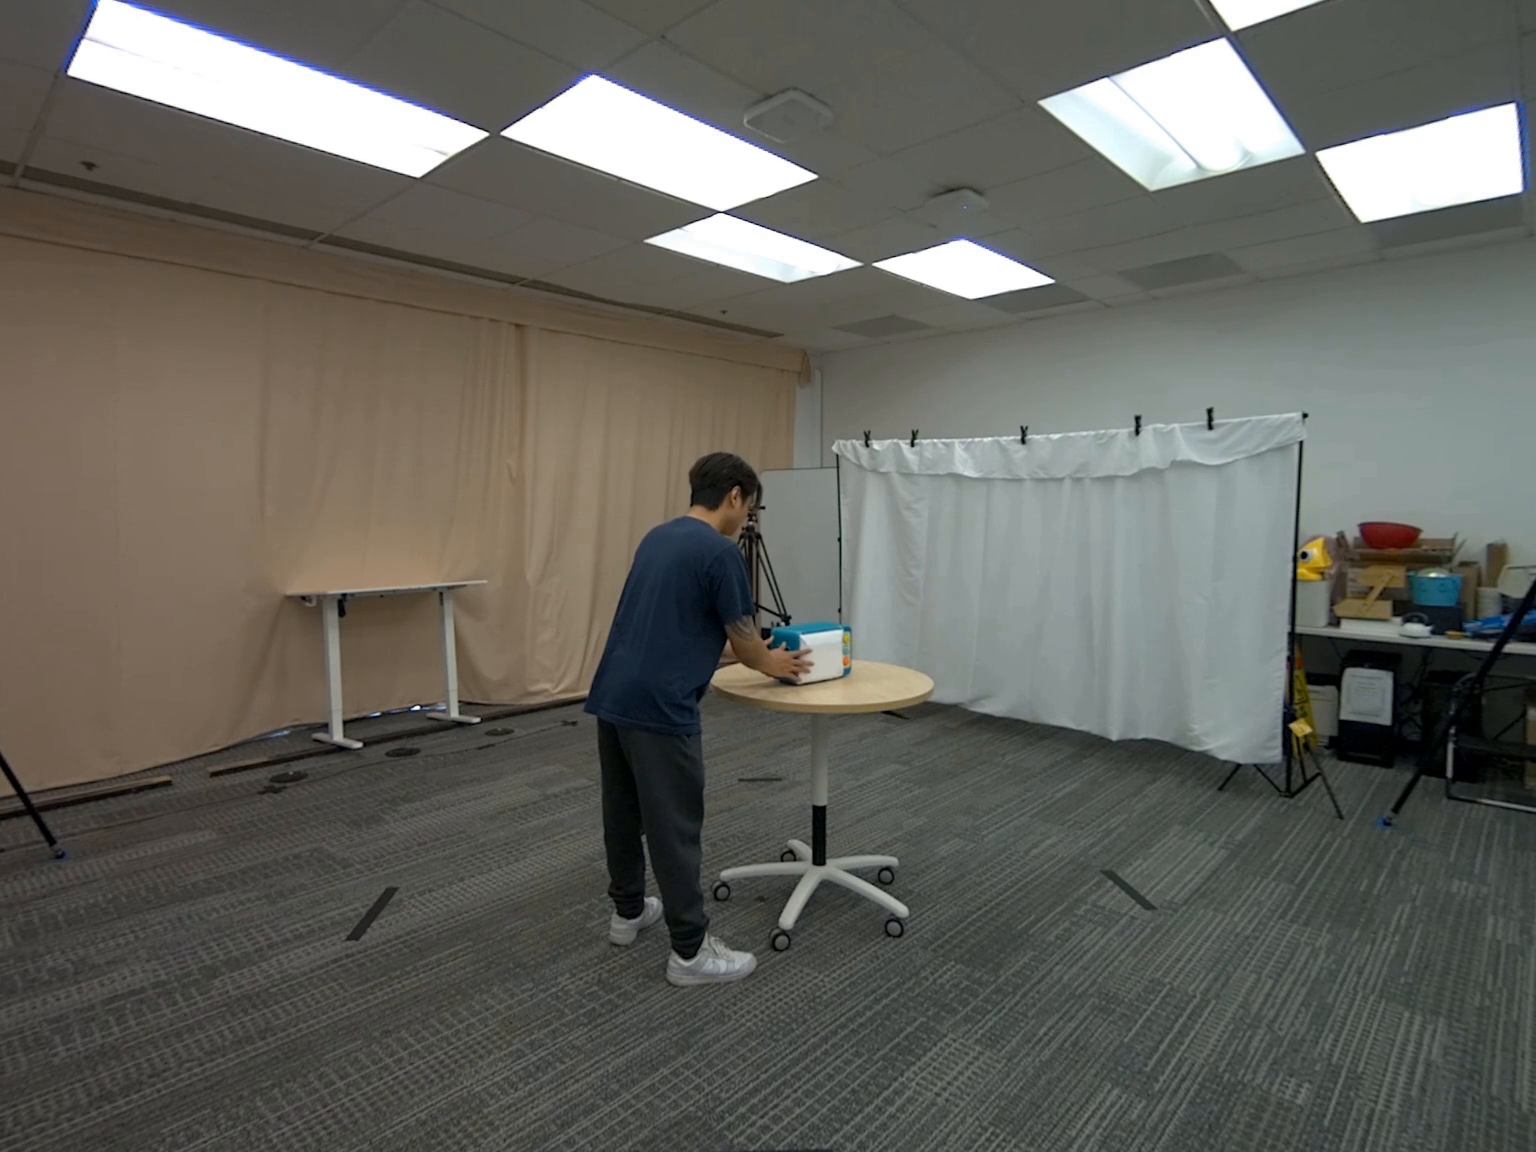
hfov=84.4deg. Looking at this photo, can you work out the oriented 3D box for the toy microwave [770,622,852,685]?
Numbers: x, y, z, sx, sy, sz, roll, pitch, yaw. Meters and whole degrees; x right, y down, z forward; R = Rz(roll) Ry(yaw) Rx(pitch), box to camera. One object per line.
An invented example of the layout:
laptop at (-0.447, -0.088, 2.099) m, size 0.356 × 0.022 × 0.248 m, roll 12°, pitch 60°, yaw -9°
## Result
toy microwave at (0.160, 0.263, 2.890) m, size 0.277 × 0.184 × 0.157 m, roll -4°, pitch 5°, yaw -40°
